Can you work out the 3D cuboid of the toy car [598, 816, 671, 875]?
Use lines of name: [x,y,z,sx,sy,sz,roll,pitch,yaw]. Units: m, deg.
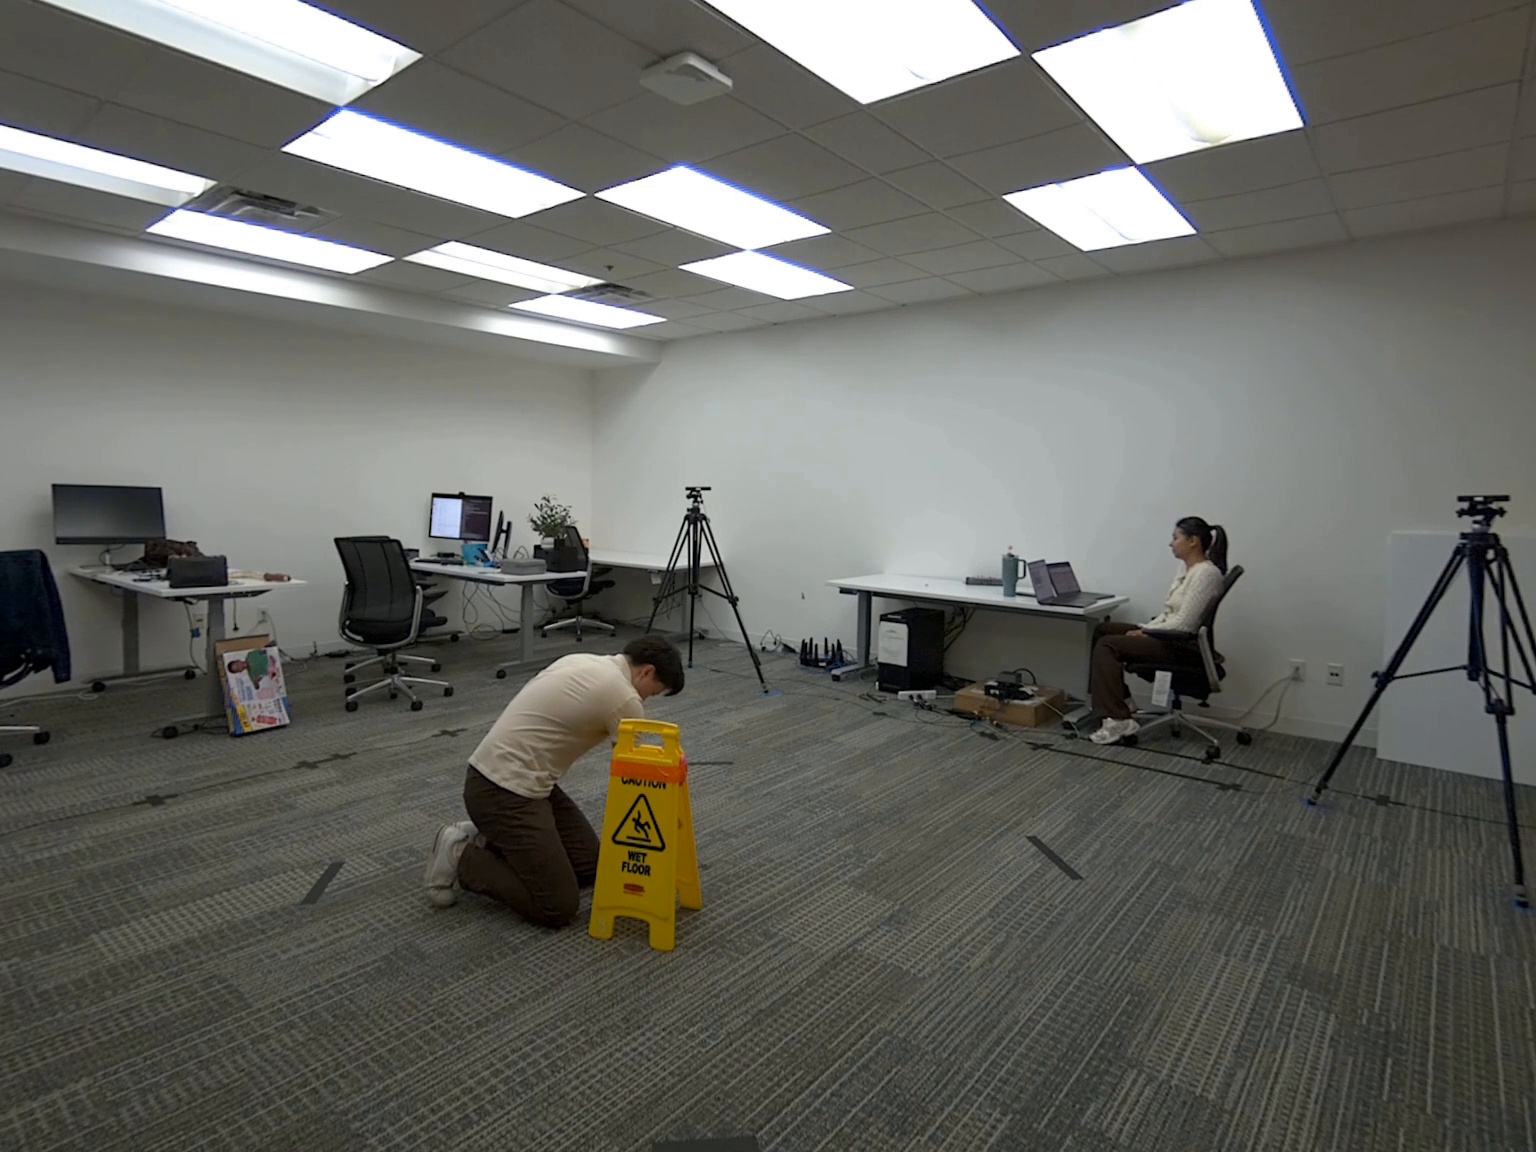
toy car: [-0.520,1.016,3.183,0.249,0.082,0.134,-14,12,-31]
